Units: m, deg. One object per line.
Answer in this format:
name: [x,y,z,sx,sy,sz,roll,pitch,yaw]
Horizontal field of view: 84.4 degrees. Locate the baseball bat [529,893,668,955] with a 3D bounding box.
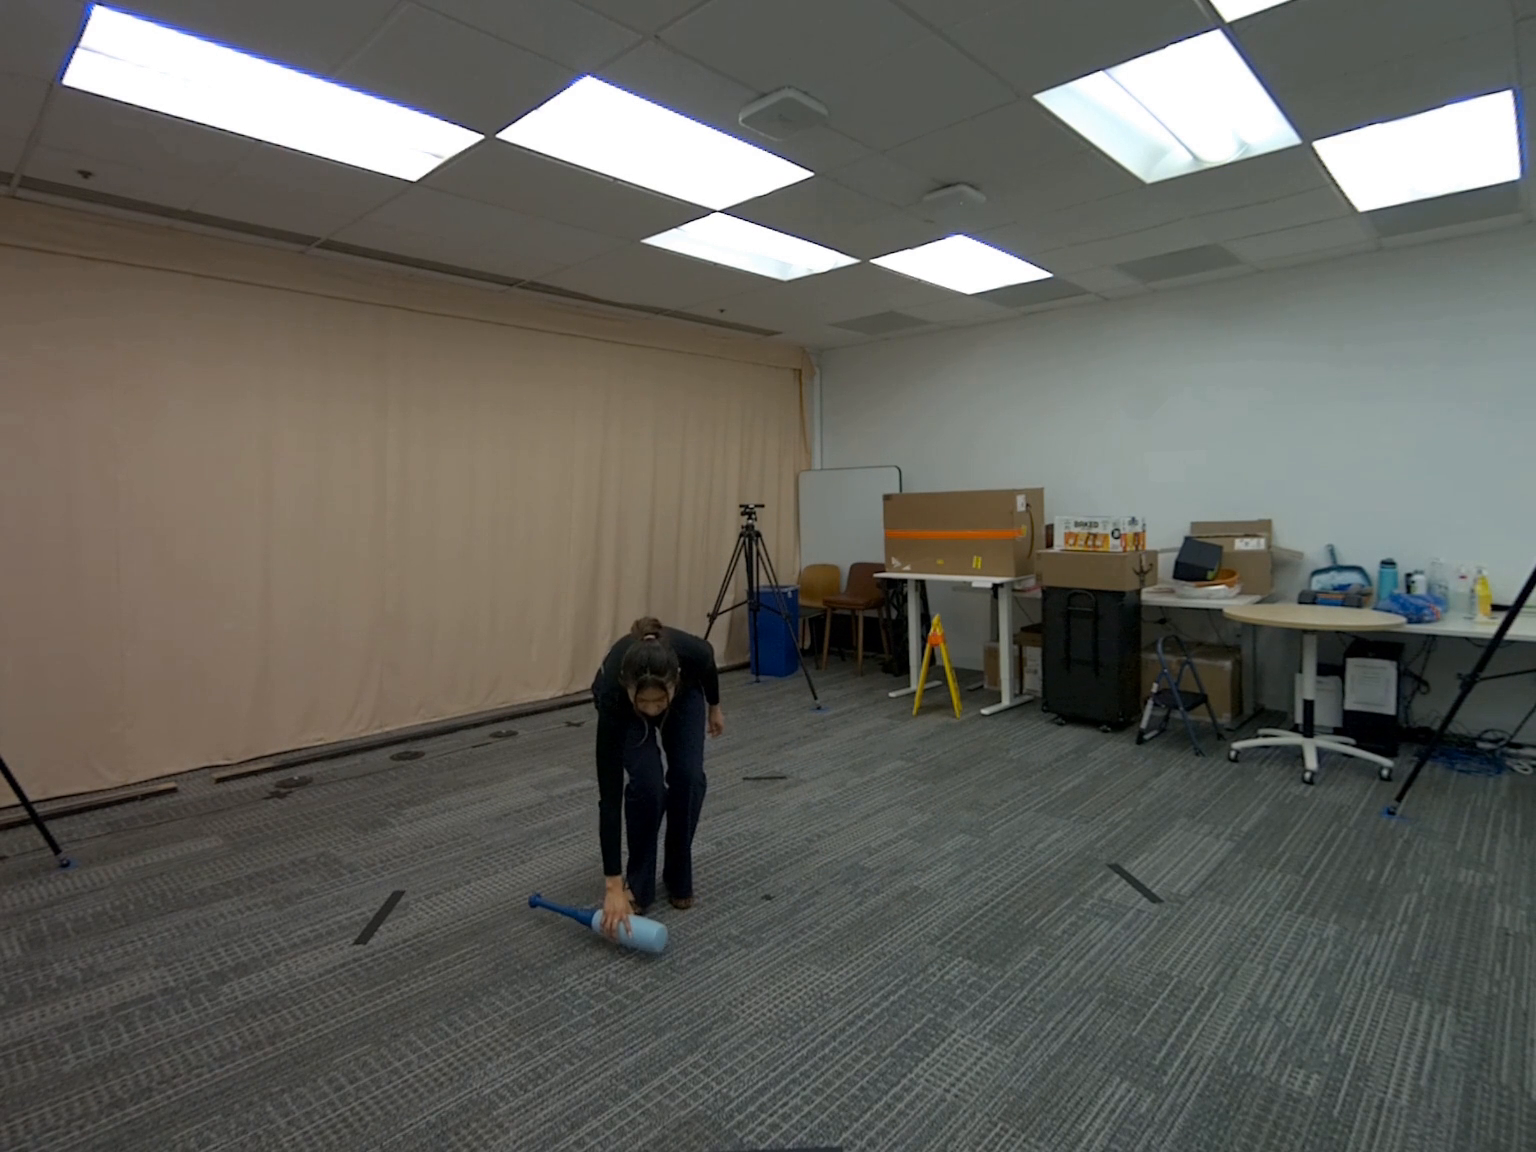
baseball bat: [-0.552,1.090,2.712,0.558,0.089,0.087,-1,3,28]
